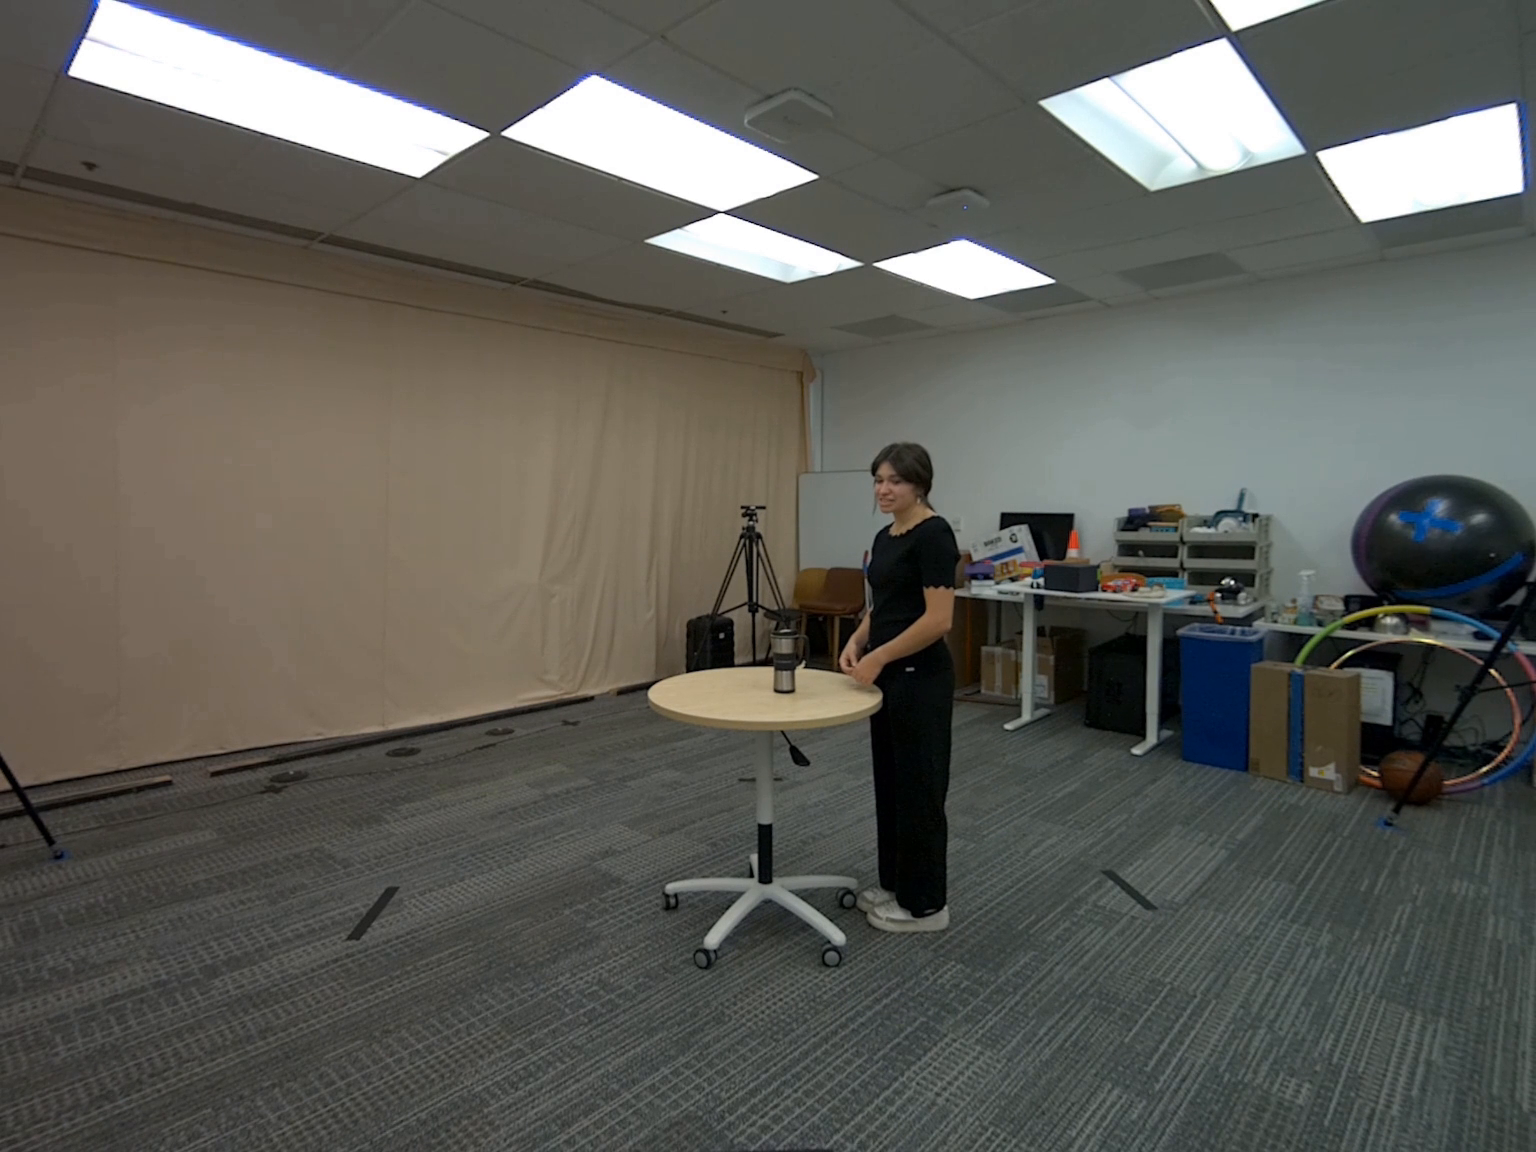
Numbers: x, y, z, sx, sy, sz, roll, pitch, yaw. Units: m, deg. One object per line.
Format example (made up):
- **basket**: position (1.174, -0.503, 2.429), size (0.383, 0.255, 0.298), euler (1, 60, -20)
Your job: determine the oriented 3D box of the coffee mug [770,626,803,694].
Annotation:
- **coffee mug**: position (0.076, 0.288, 2.735), size (0.085, 0.203, 0.126), euler (4, 0, -45)
